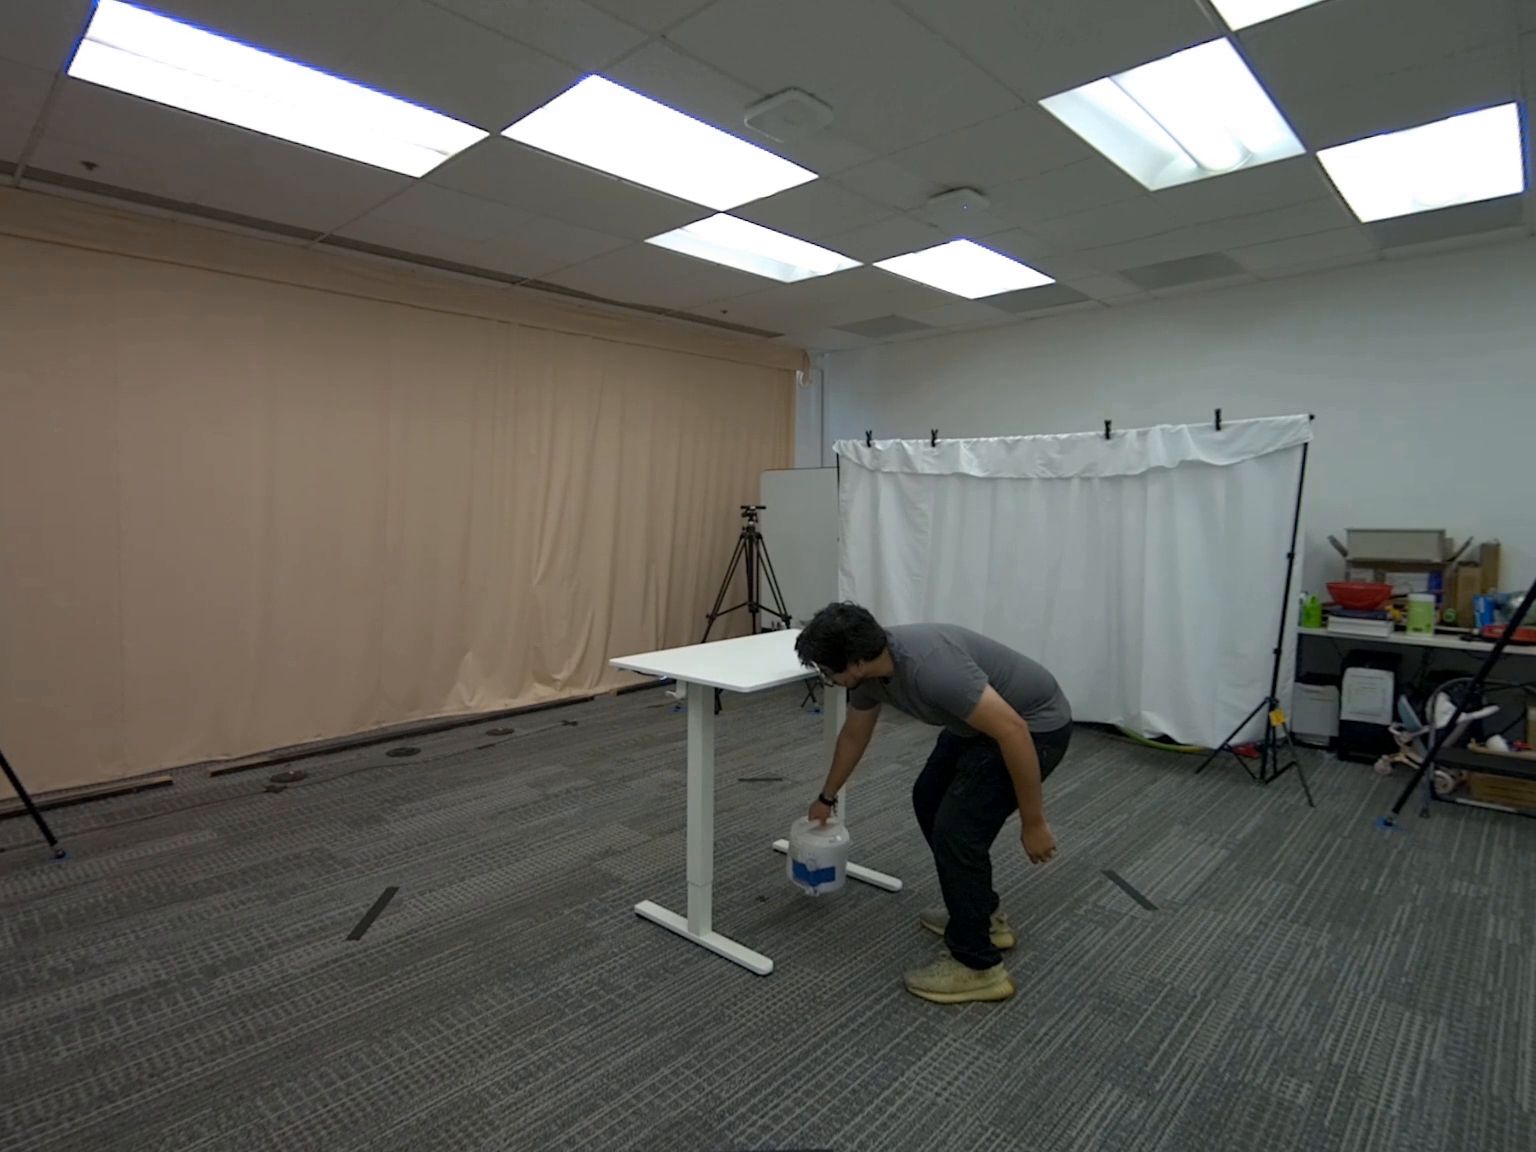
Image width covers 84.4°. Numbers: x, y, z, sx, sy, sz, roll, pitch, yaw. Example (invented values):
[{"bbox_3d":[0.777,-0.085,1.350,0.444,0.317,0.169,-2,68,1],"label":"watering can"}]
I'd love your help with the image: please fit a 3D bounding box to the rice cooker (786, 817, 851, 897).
[{"bbox_3d":[0.178,0.949,2.912,0.214,0.231,0.225,0,11,-31],"label":"rice cooker"}]
